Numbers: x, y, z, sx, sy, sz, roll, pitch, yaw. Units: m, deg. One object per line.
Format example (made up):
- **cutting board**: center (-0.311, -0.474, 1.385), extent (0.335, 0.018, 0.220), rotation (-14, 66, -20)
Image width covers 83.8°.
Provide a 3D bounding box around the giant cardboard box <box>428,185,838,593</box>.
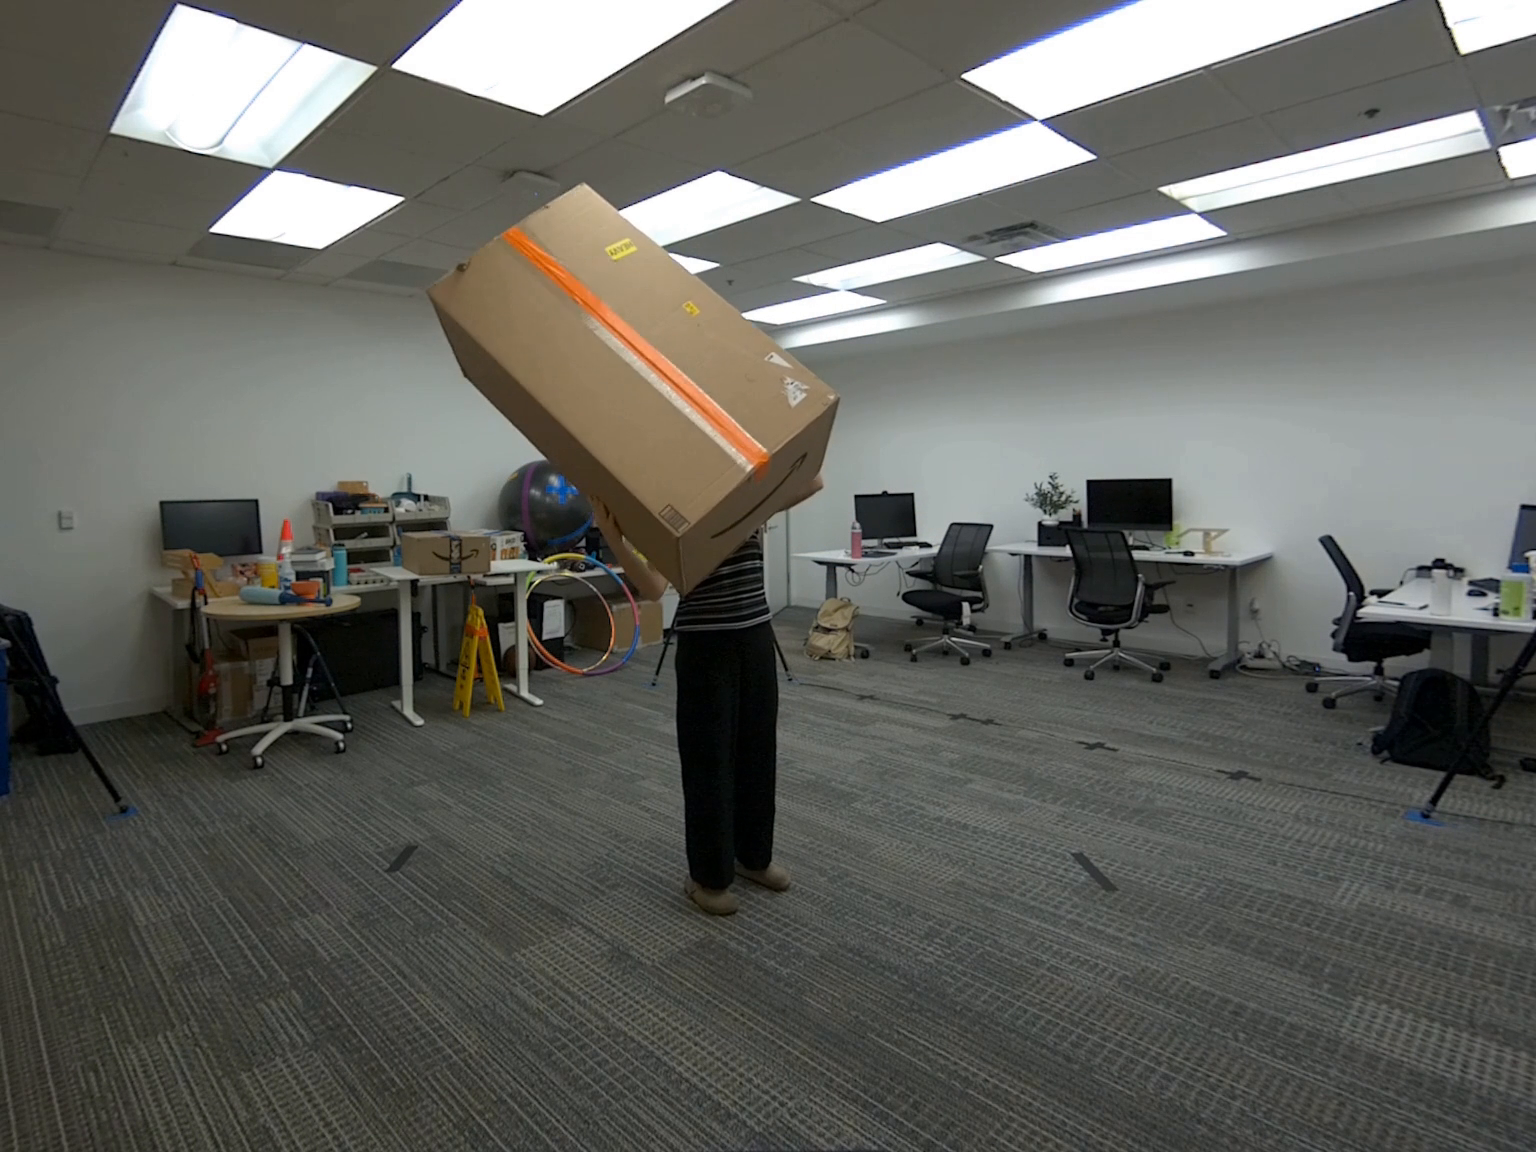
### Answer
- **giant cardboard box**: center (-0.376, -0.548, 2.456), extent (0.576, 1.048, 0.418), rotation (-41, -16, -18)
